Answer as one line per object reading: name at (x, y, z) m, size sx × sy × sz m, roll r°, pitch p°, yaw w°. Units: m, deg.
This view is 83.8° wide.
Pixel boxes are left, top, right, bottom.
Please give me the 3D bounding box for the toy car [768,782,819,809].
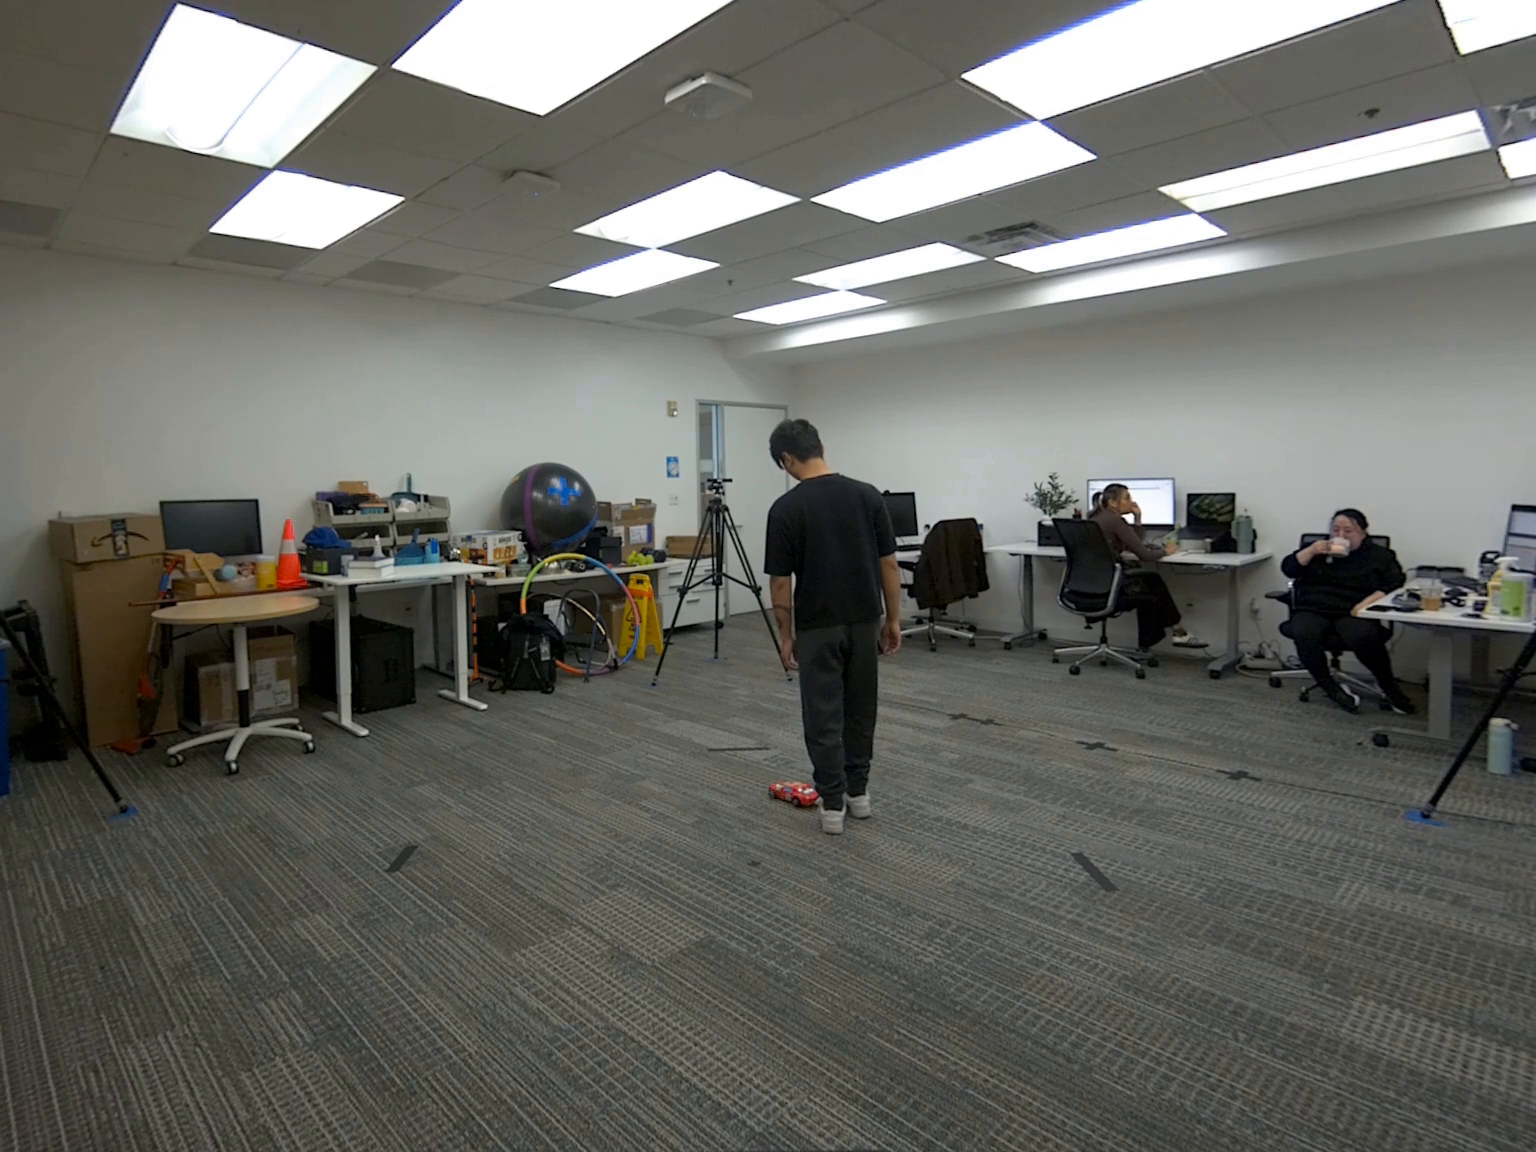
toy car at (0.128, 0.940, 3.697) m, size 0.127 × 0.083 × 0.260 m, roll -6°, pitch -3°, yaw -43°
